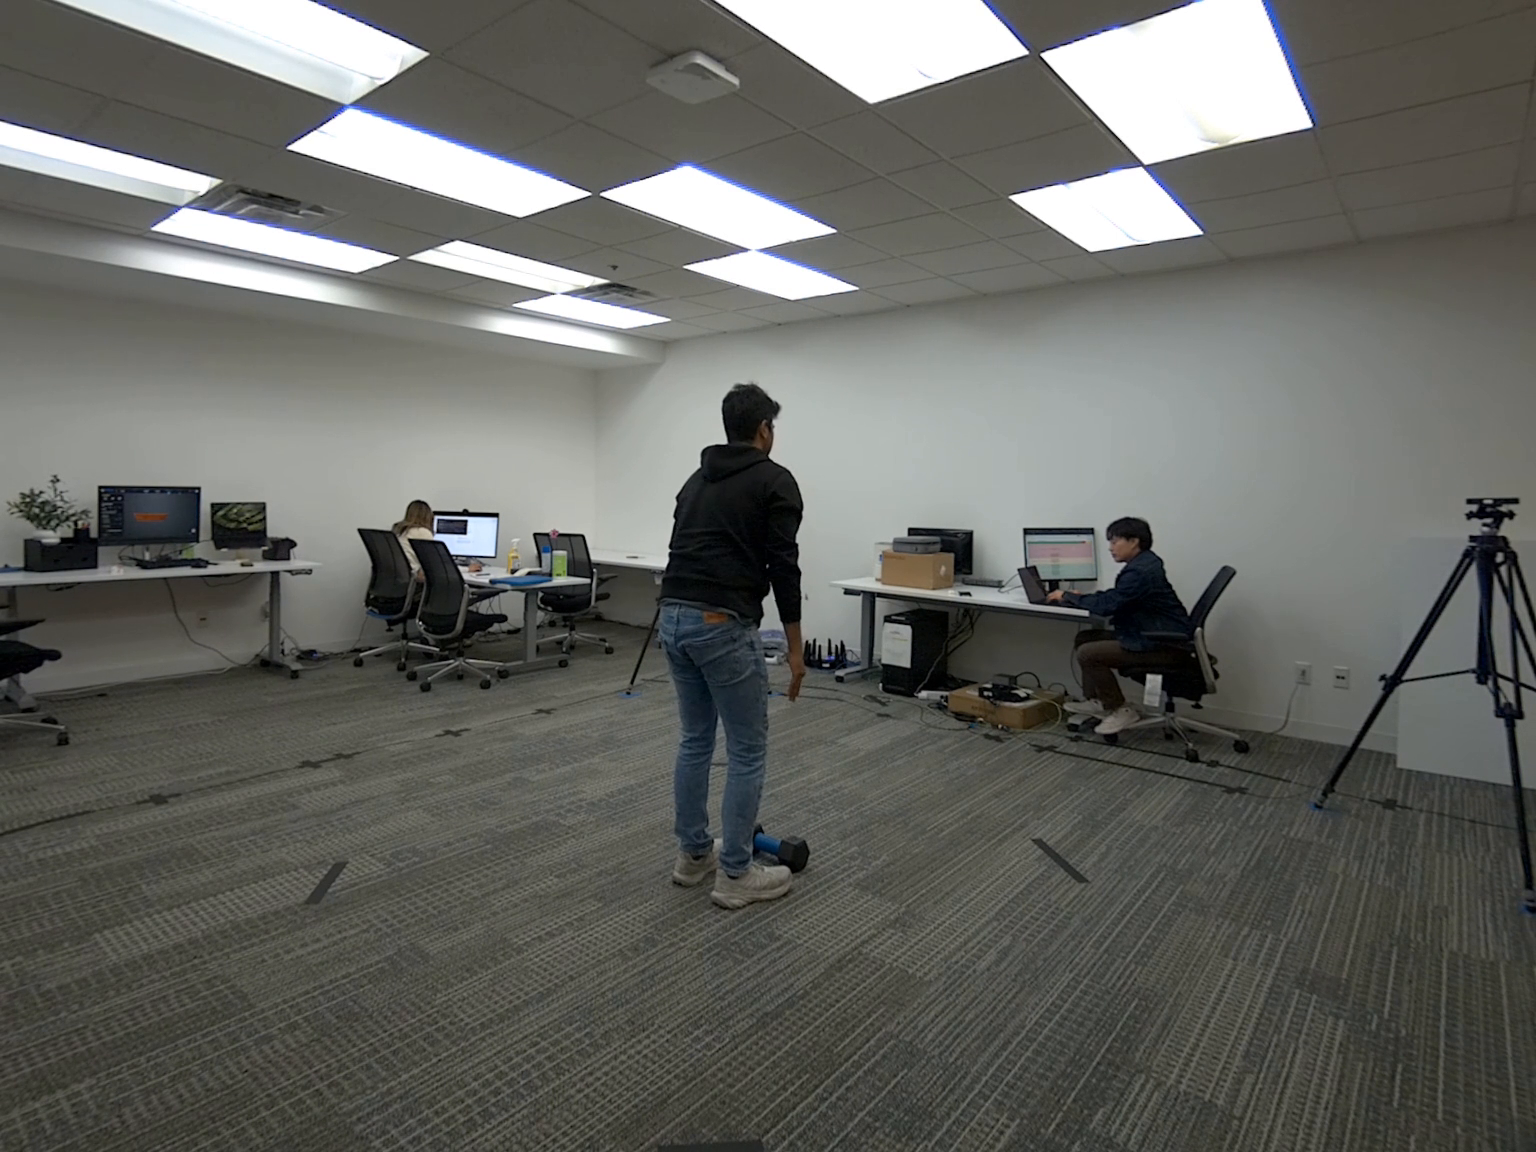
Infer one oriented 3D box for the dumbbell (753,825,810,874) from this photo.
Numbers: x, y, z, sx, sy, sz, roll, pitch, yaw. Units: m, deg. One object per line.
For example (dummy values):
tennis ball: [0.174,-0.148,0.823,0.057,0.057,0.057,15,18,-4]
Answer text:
dumbbell: [0.002,1.008,3.196,0.303,0.108,0.119,5,6,40]
